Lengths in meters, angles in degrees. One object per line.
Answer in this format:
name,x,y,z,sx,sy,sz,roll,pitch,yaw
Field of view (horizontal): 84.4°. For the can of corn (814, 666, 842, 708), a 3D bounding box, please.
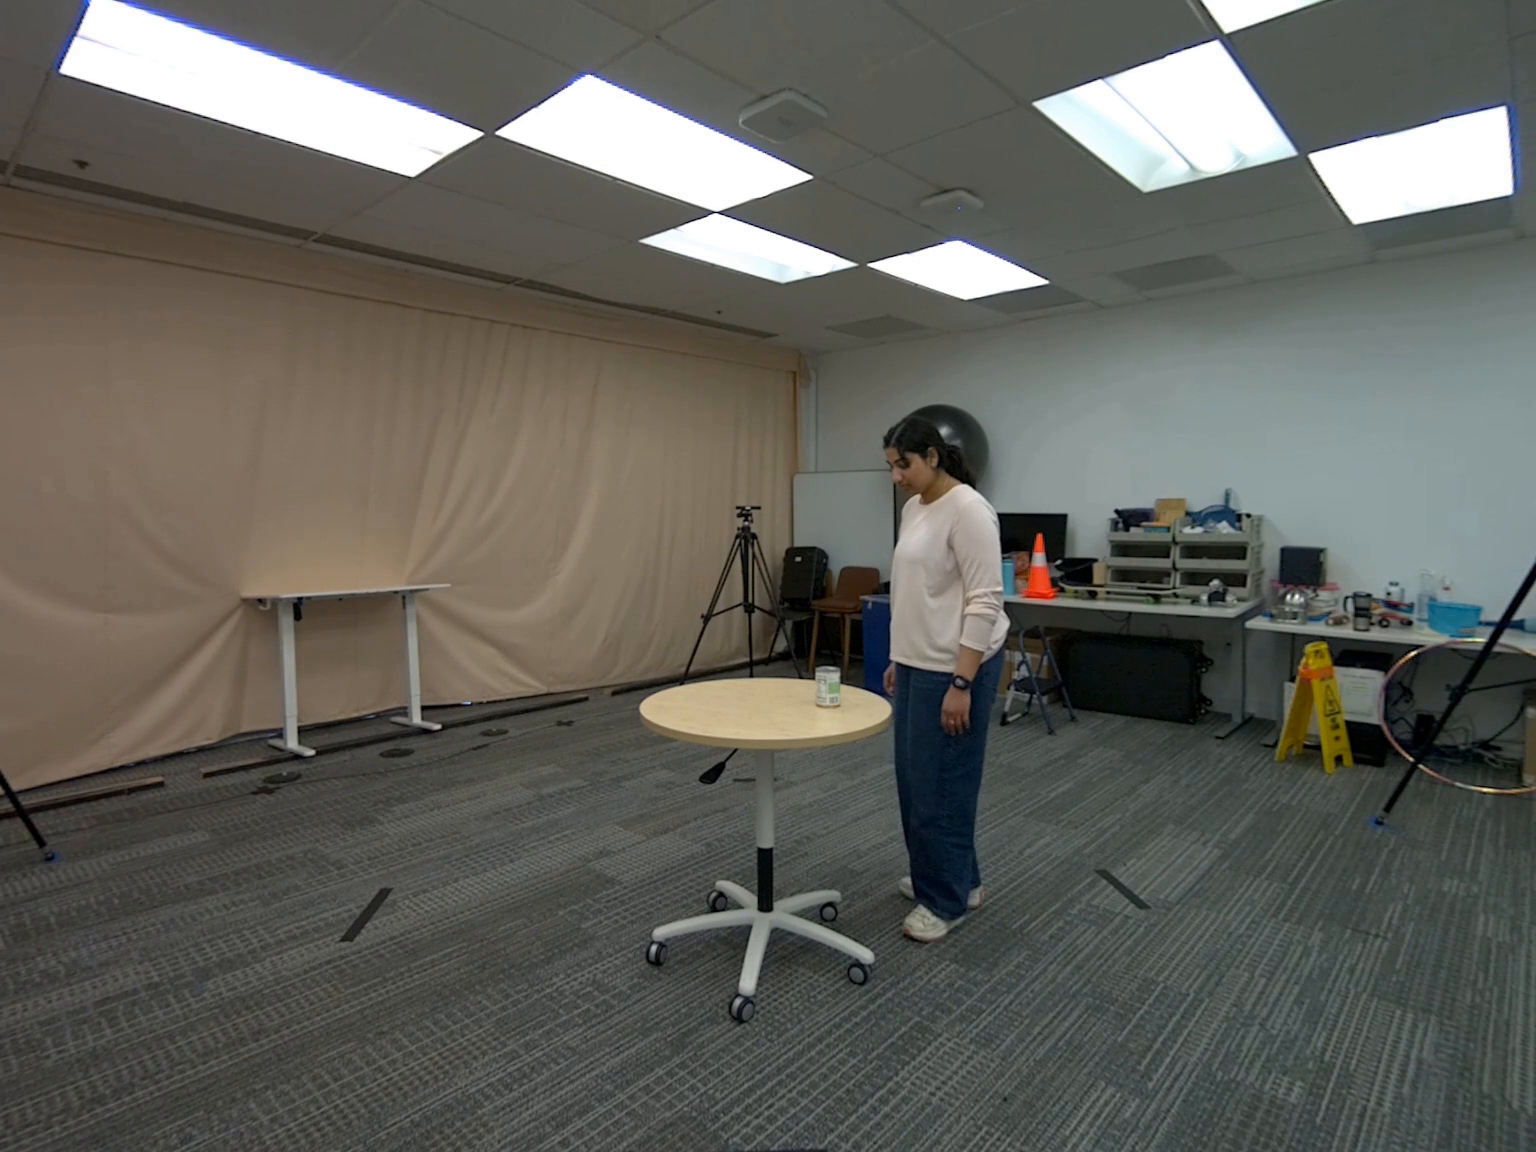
can of corn,0.192,0.342,2.553,0.074,0.111,0.074,1,4,-2
